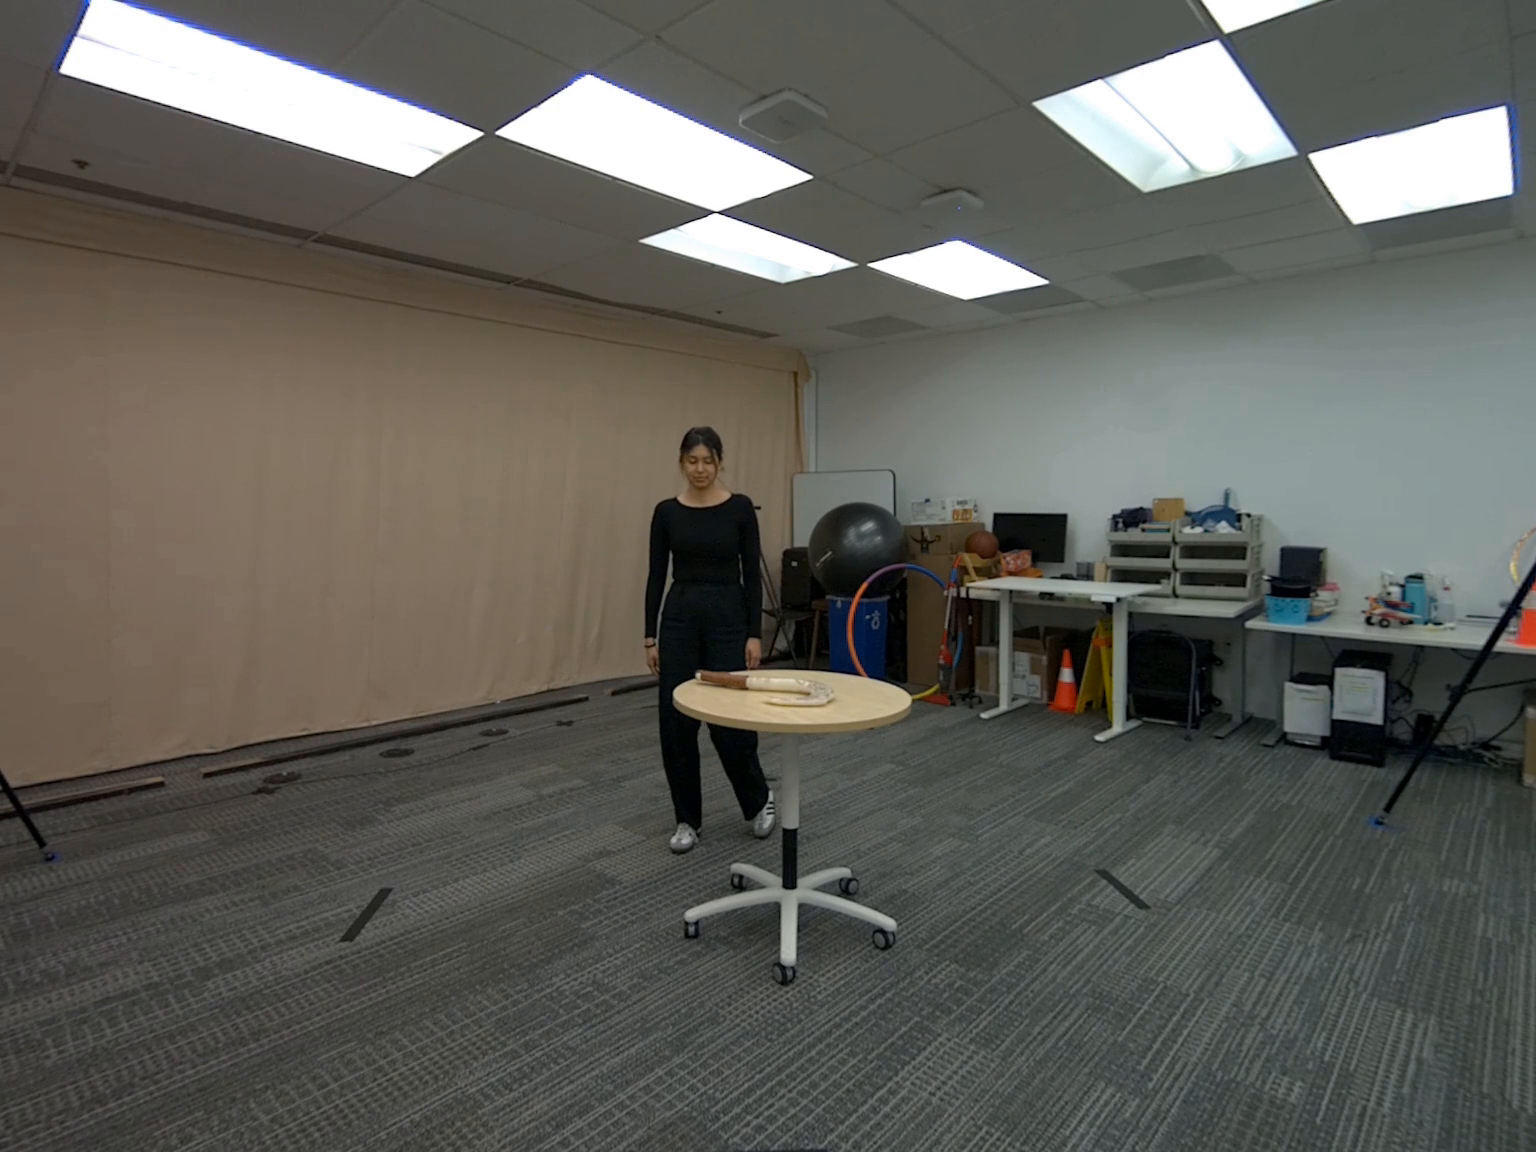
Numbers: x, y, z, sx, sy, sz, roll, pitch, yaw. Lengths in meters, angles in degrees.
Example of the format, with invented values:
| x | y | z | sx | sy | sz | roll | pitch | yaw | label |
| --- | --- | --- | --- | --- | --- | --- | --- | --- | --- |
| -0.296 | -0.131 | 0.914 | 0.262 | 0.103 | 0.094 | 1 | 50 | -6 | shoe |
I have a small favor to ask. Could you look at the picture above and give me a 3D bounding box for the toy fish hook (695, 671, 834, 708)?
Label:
| x | y | z | sx | sy | sz | roll | pitch | yaw | label |
| --- | --- | --- | --- | --- | --- | --- | --- | --- | --- |
| -0.031 | 0.366 | 2.700 | 0.520 | 0.048 | 0.219 | 3 | 4 | 27 | toy fish hook |
